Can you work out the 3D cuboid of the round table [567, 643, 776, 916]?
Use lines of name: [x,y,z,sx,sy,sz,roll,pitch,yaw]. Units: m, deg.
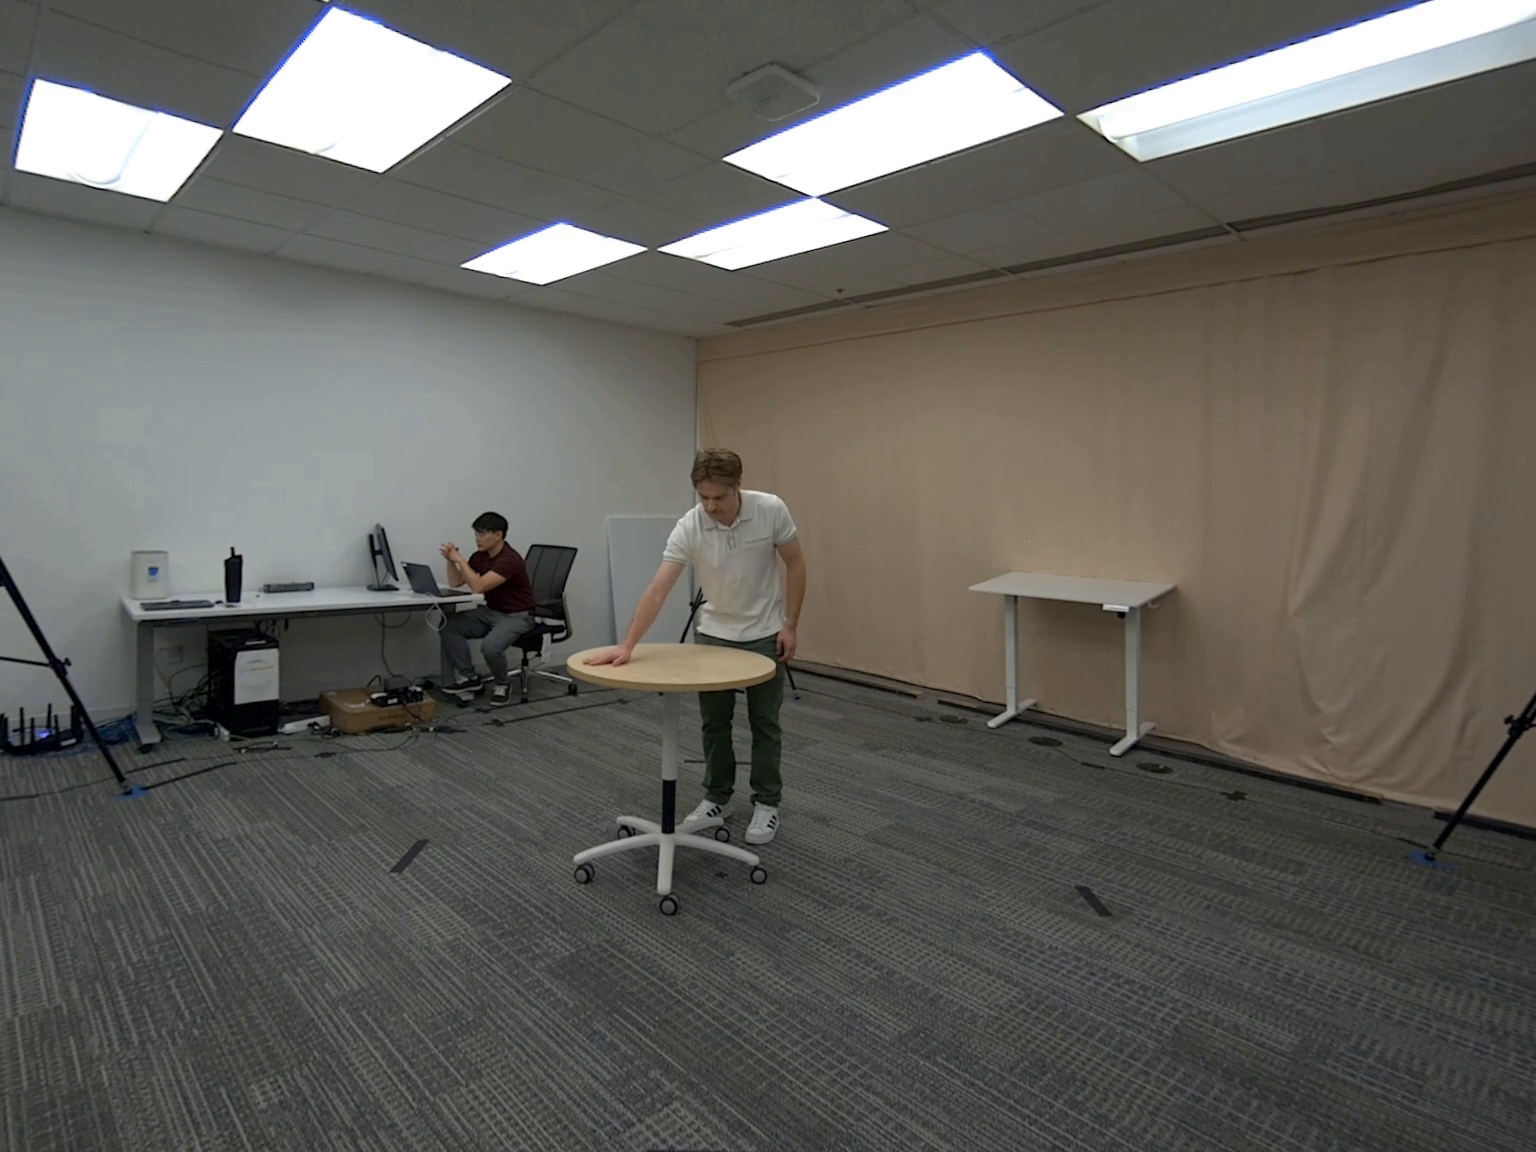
round table: [-0.387,0.703,3.120,0.784,0.785,0.787,2,4,-1]
